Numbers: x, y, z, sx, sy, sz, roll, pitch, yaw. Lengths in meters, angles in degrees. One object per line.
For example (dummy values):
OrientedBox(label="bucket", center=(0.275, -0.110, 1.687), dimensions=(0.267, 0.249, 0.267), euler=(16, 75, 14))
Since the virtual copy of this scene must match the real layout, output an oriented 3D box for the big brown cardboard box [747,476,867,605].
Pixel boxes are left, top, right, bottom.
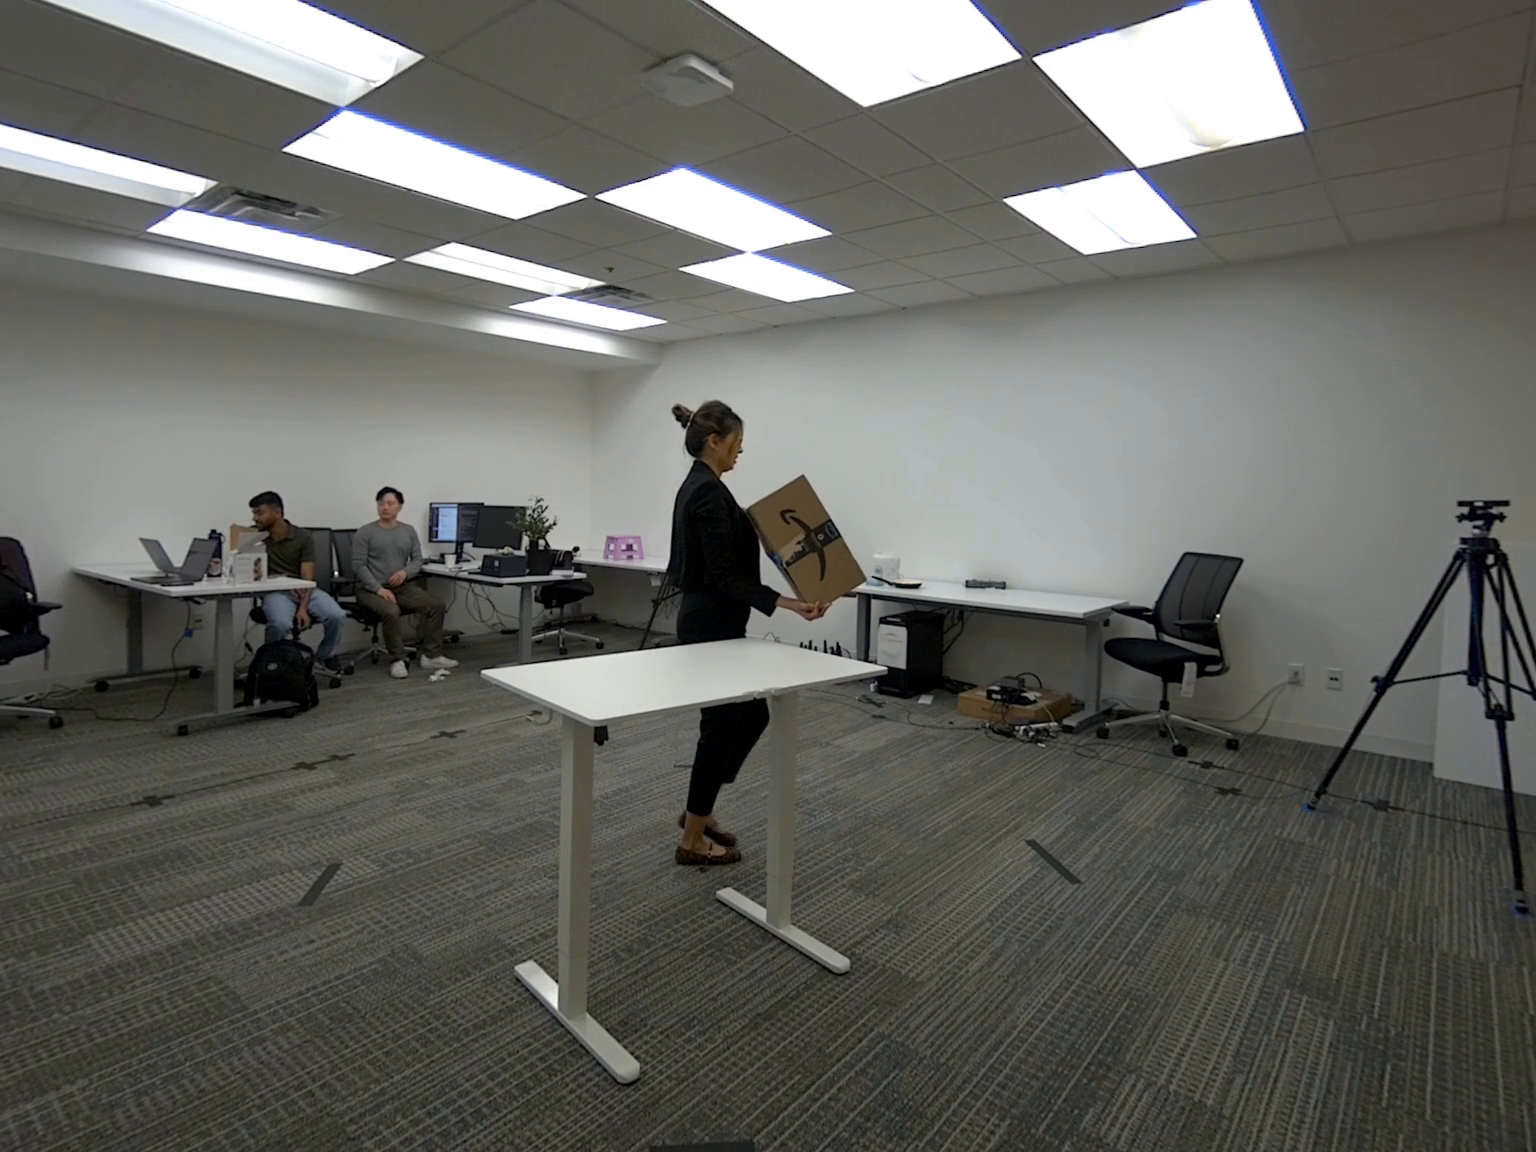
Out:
OrientedBox(label="big brown cardboard box", center=(0.105, -0.121, 3.088), dimensions=(0.233, 0.417, 0.590), euler=(-31, 2, -2))
